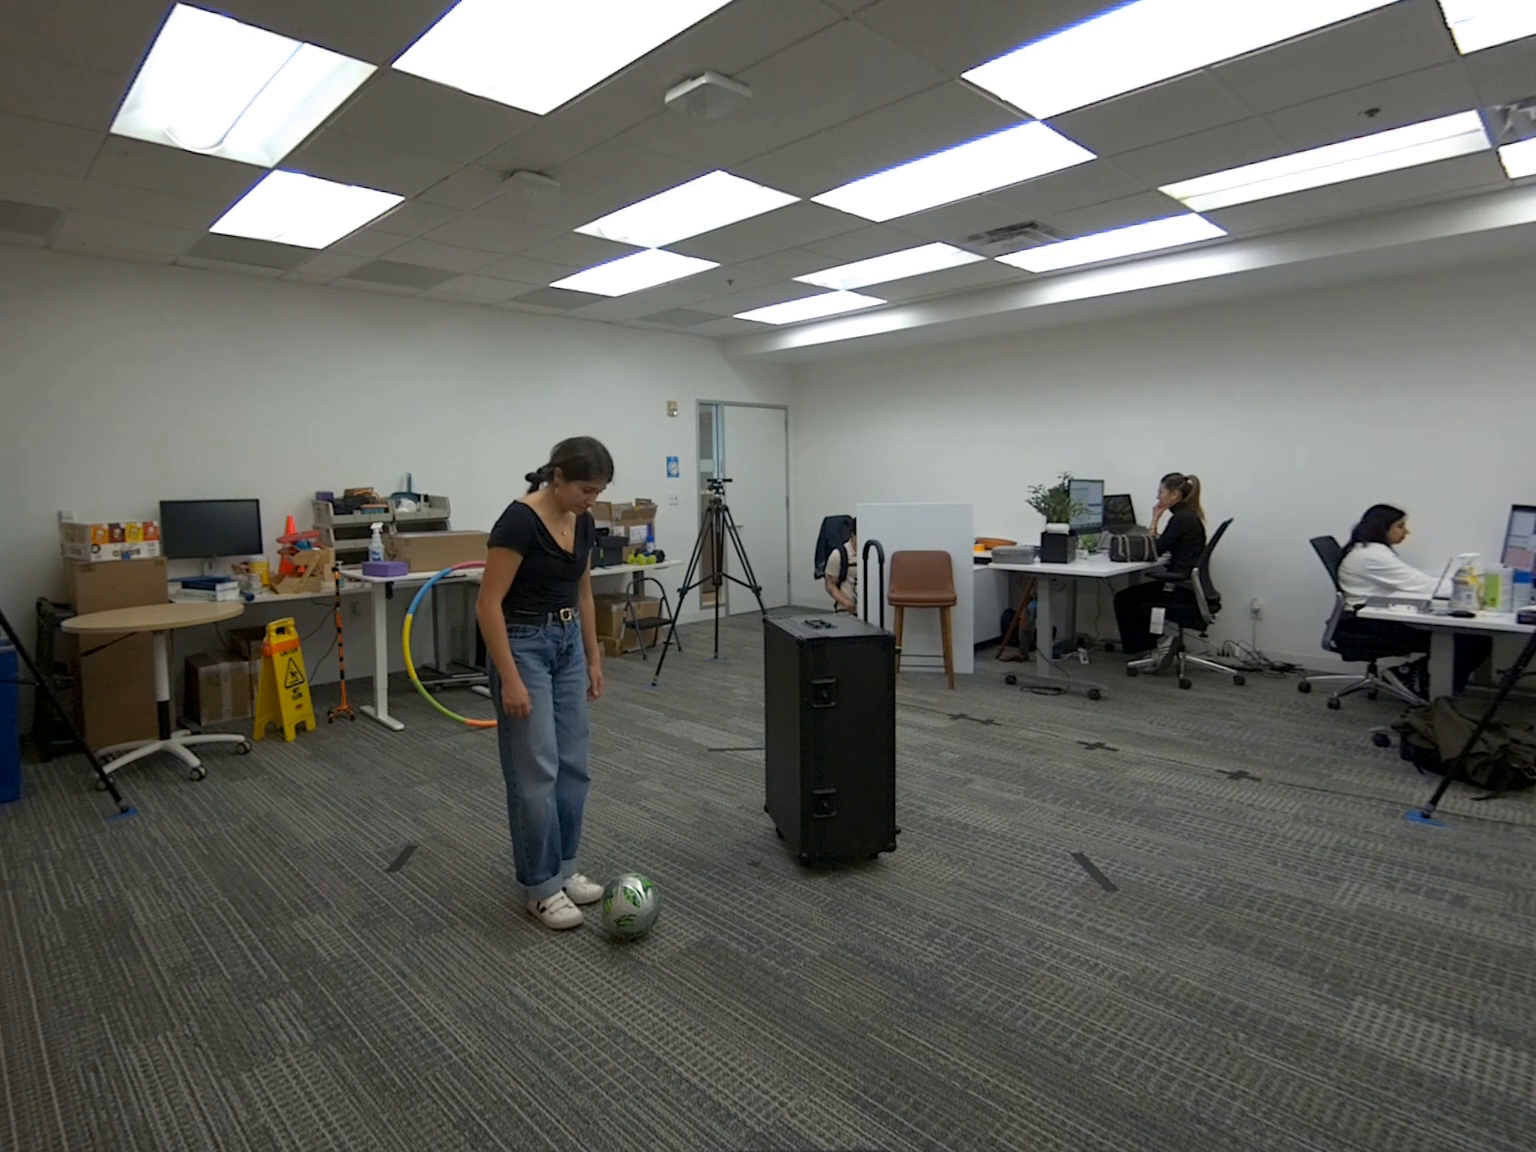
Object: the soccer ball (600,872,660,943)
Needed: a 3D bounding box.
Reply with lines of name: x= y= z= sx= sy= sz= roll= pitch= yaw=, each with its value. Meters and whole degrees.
soccer ball: x=-0.419 y=1.015 z=2.626 sx=0.187 sy=0.187 sz=0.188 roll=-1 pitch=5 yaw=-2
